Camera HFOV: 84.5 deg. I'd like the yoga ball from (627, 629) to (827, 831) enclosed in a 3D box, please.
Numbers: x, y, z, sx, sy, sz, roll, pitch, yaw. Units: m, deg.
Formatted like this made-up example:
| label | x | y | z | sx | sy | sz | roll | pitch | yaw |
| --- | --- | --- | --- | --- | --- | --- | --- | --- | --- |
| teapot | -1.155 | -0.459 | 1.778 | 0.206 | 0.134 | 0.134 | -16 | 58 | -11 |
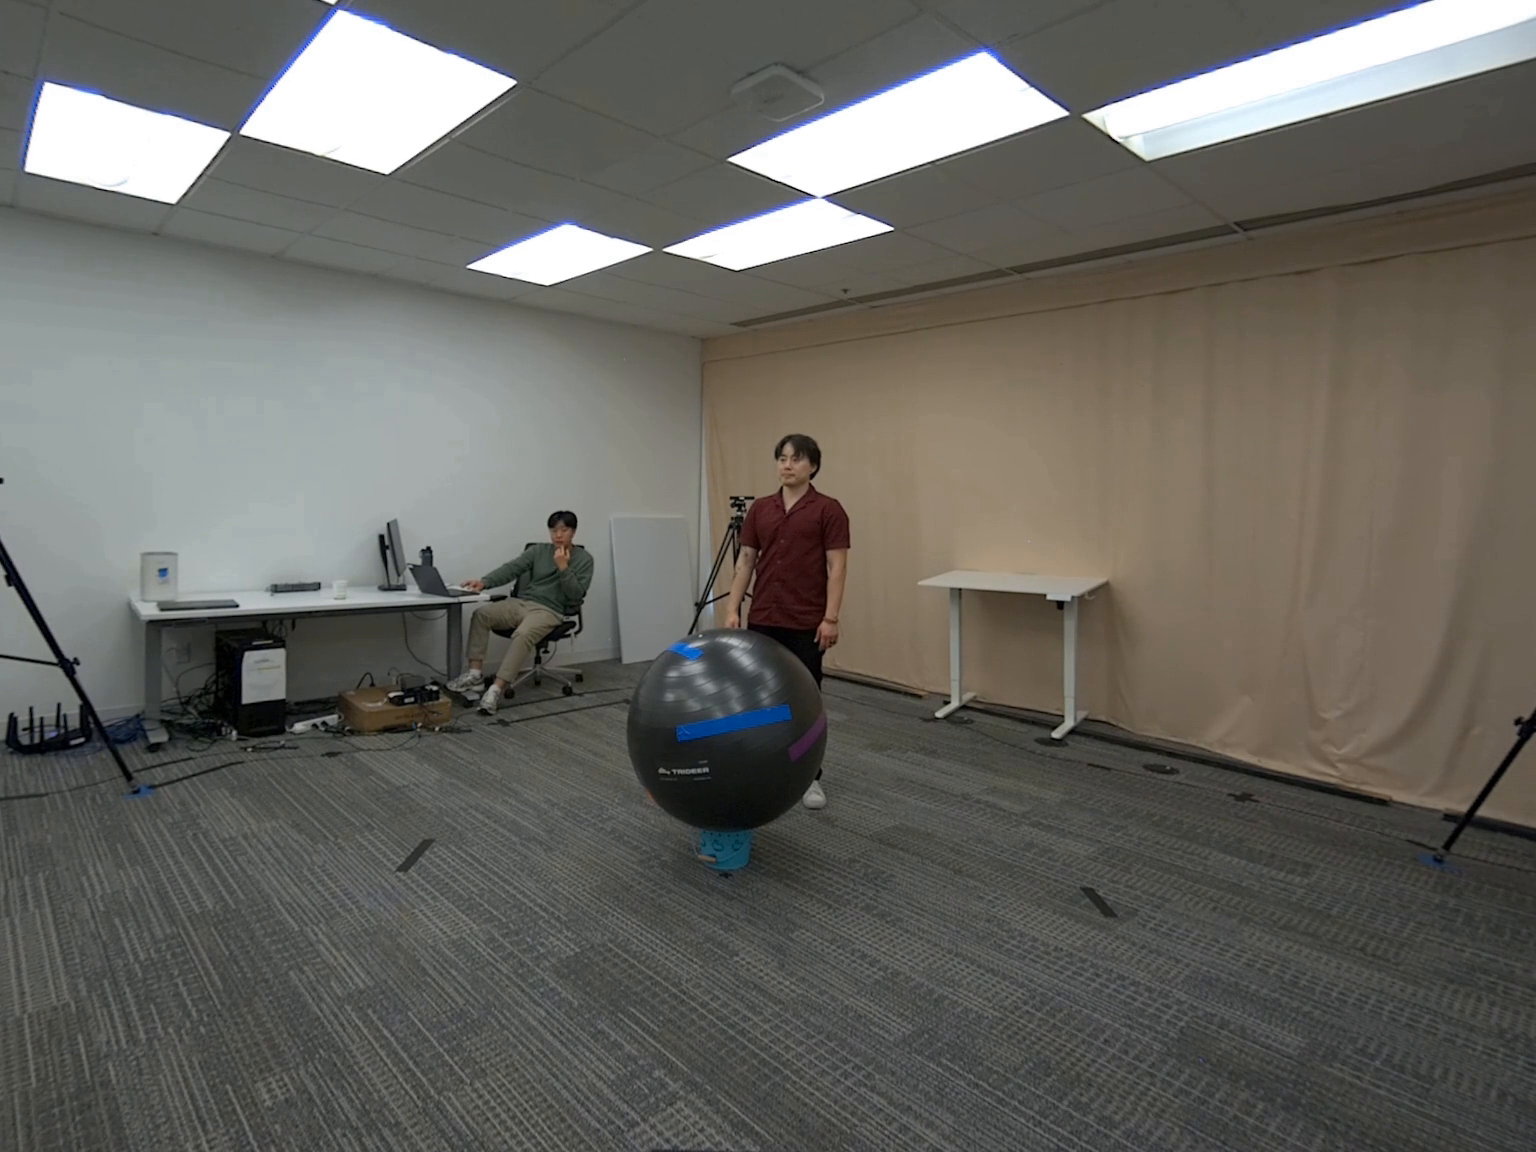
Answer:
| label | x | y | z | sx | sy | sz | roll | pitch | yaw |
| --- | --- | --- | --- | --- | --- | --- | --- | --- | --- |
| yoga ball | -0.168 | 0.589 | 3.201 | 0.757 | 0.756 | 0.761 | 1 | 4 | -1 |
